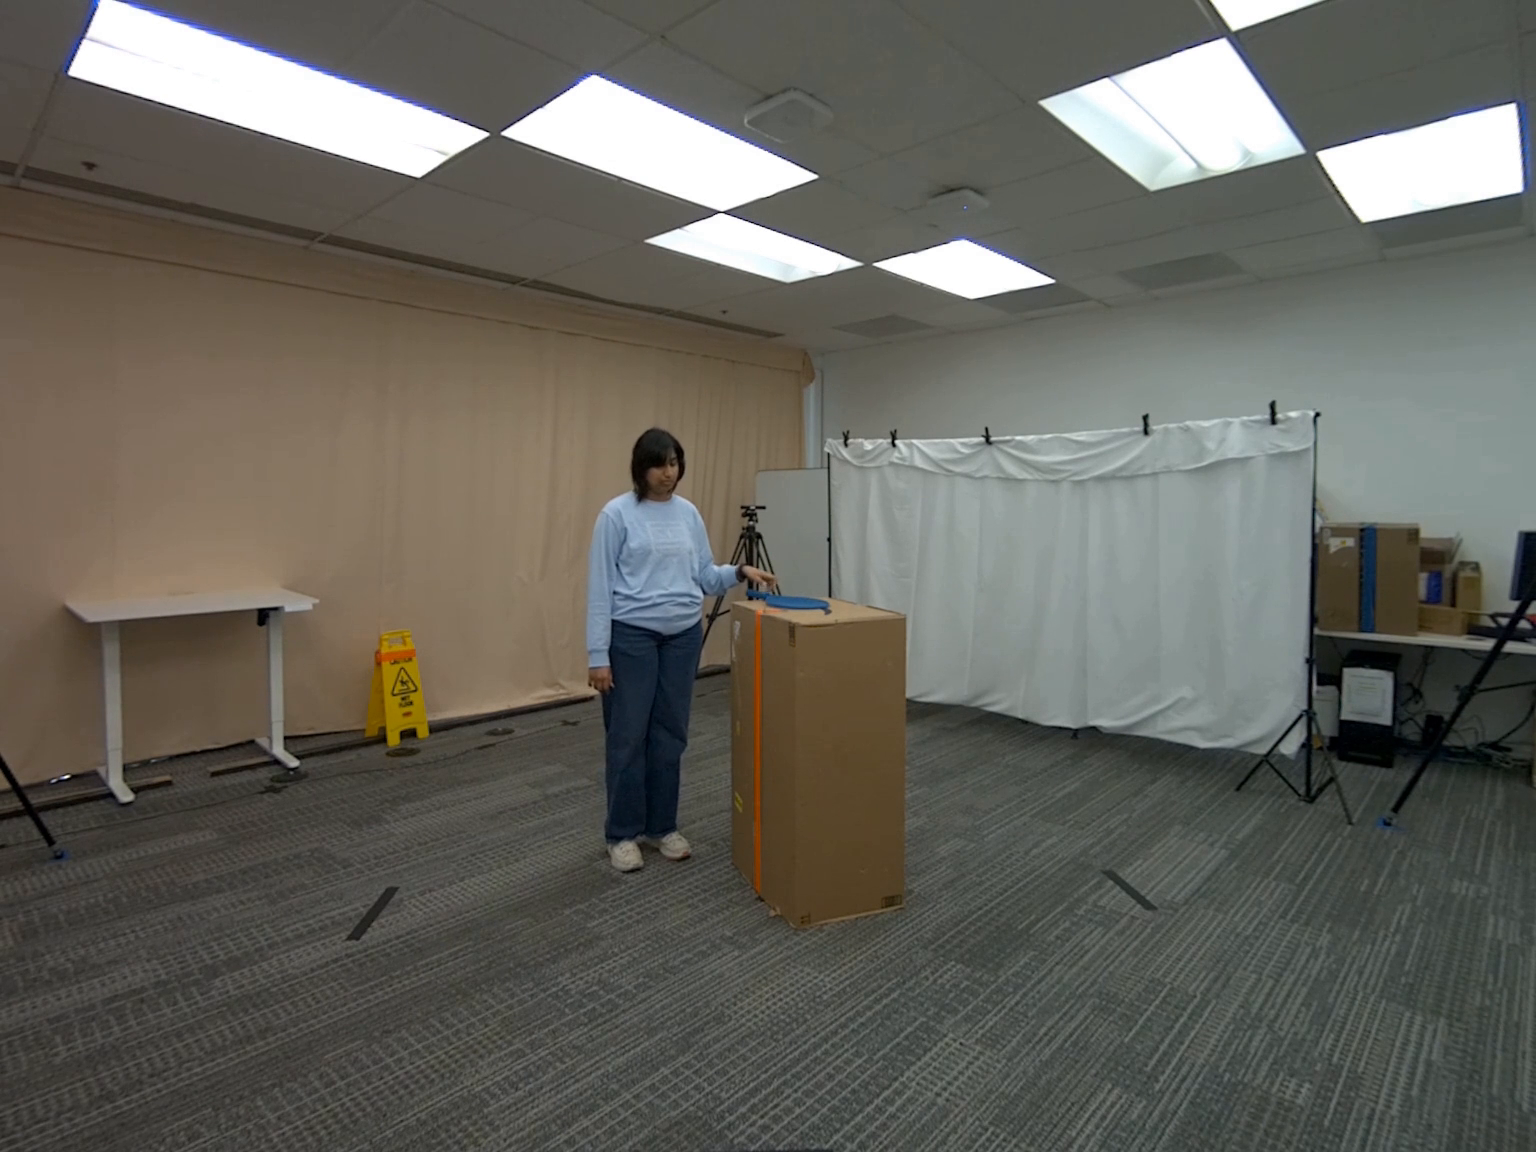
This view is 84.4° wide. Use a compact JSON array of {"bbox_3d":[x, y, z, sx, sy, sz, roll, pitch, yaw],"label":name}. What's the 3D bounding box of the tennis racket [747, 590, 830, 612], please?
[{"bbox_3d":[0.042,0.093,3.177,0.207,0.031,0.447,-5,8,-39],"label":"tennis racket"}]
